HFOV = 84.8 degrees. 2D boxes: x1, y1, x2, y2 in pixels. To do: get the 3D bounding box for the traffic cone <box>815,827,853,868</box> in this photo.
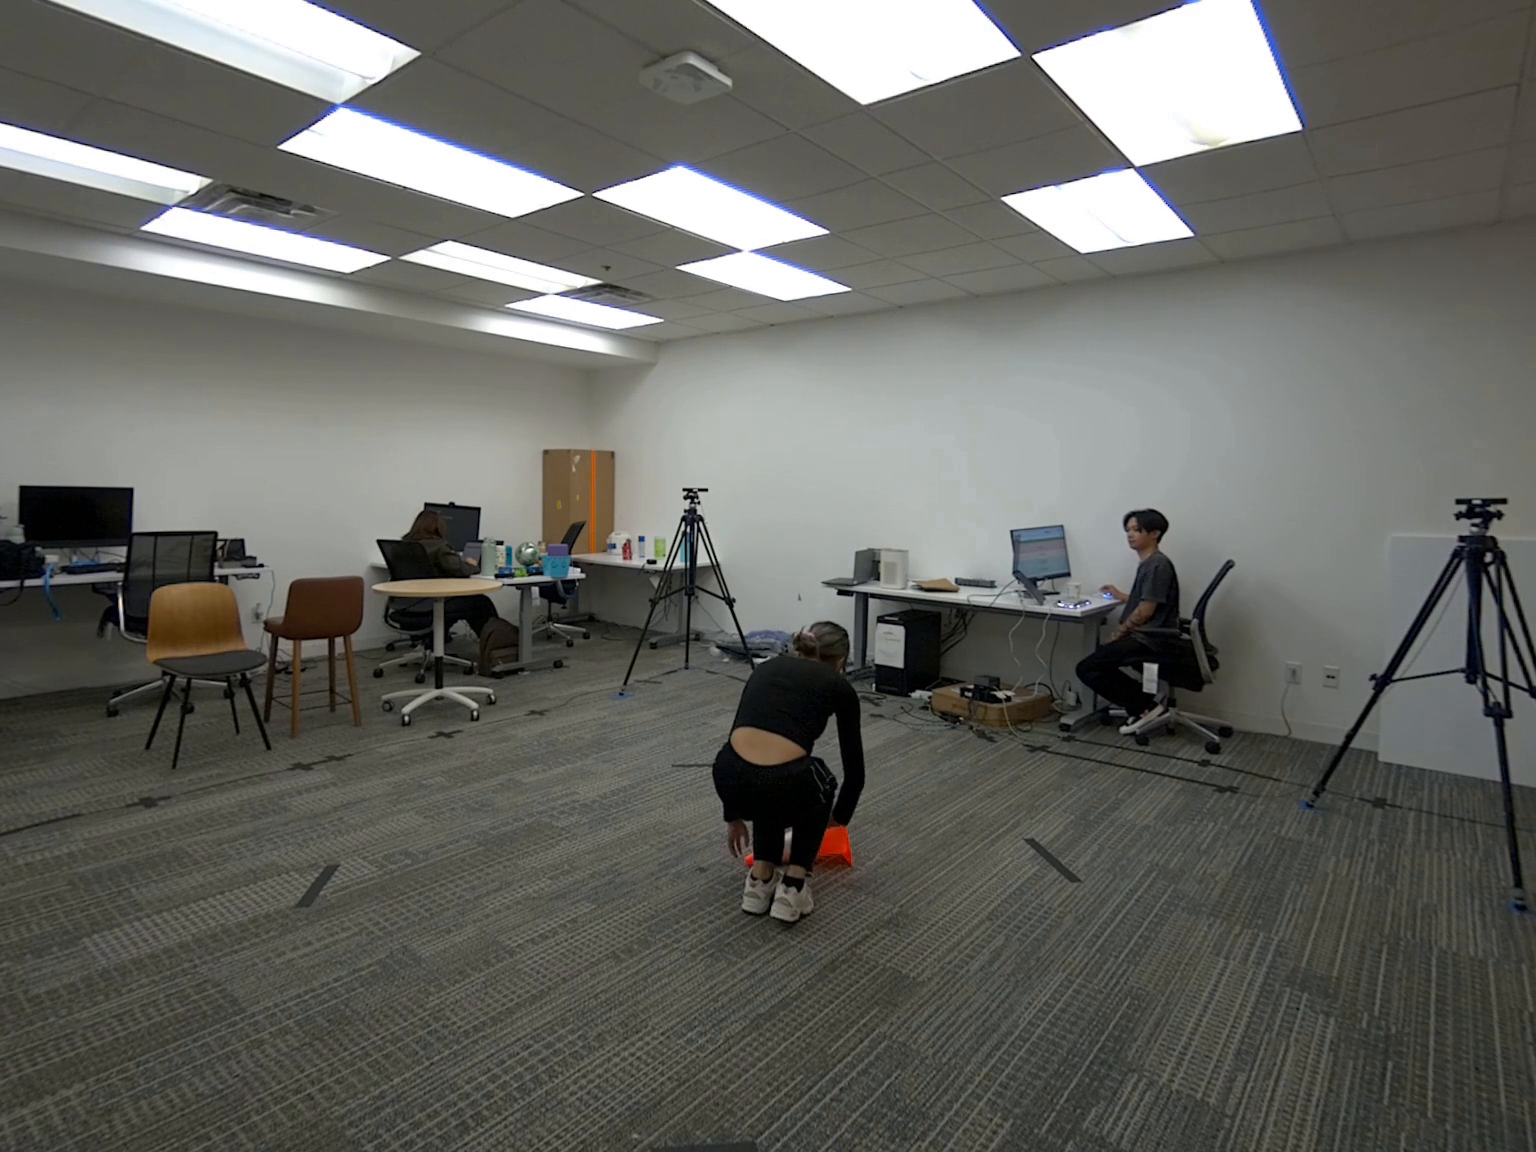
[{"bbox_3d":[0.087,1.017,3.187,0.379,0.204,0.207,-14,7,-16],"label":"traffic cone"}]
